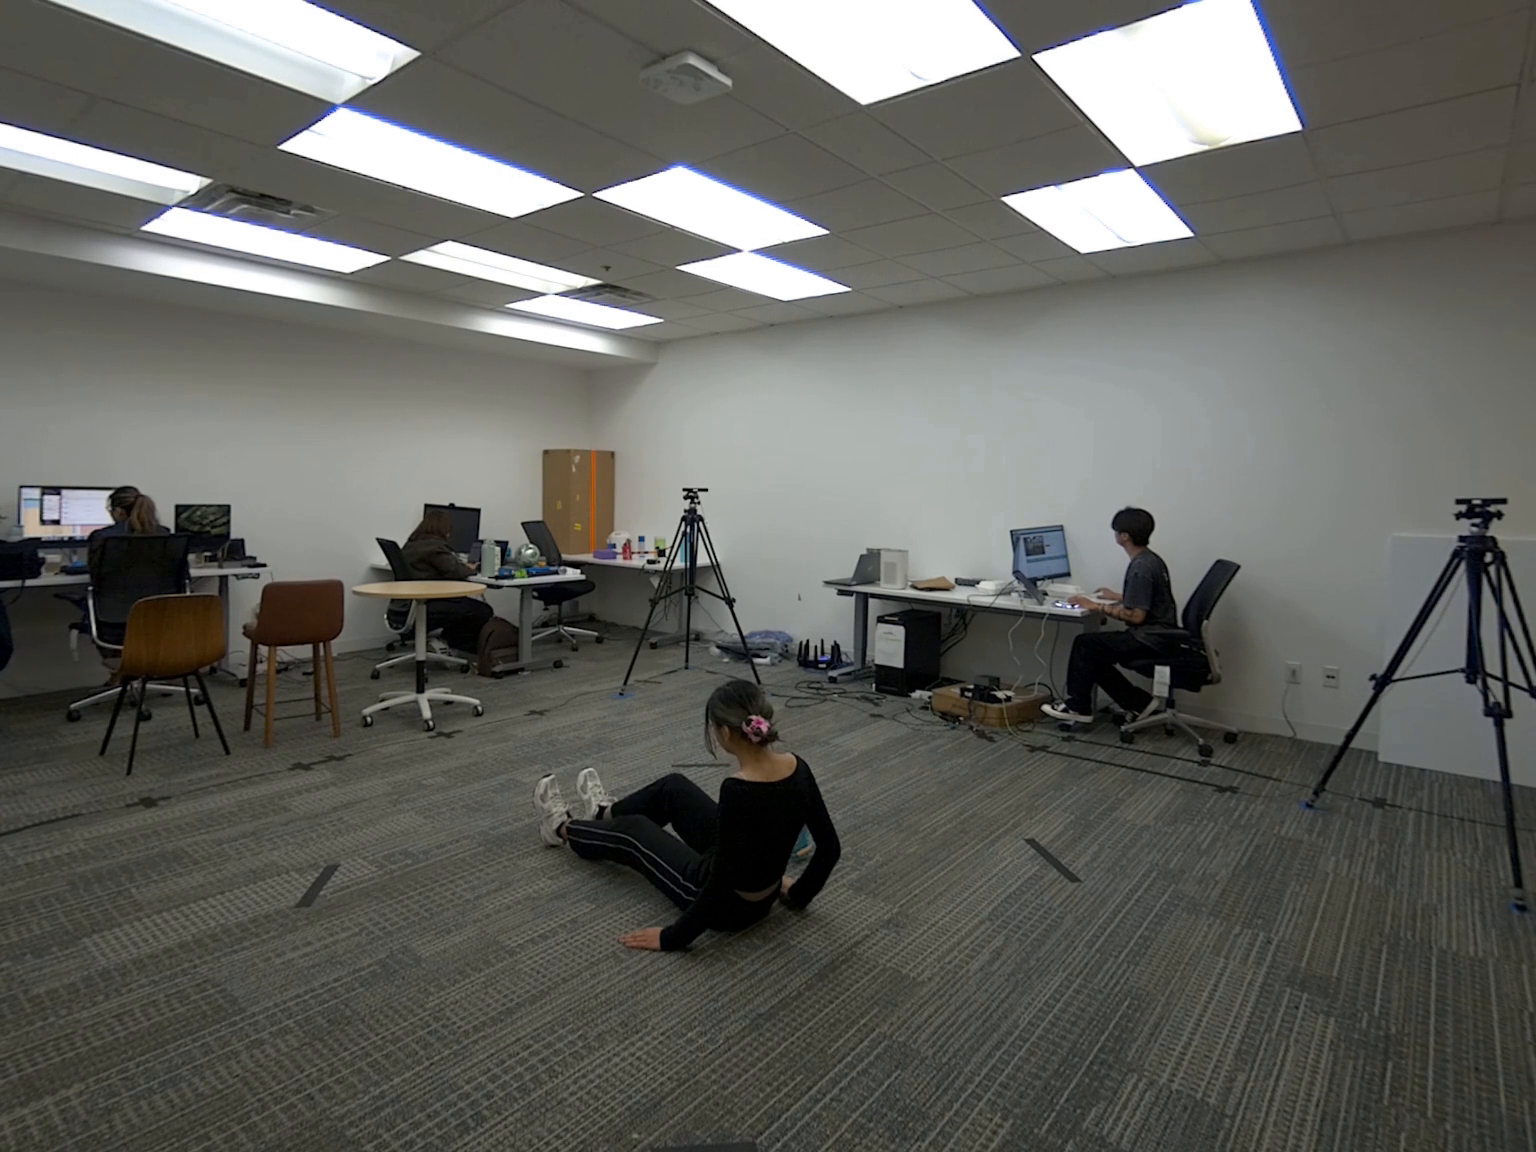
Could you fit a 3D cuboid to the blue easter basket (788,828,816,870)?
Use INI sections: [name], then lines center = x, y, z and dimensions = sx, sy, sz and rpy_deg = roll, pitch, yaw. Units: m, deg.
[blue easter basket]
center = 0.055, 0.980, 3.266
dimensions = 0.243, 0.155, 0.244
rpy_deg = 0, 4, -2
